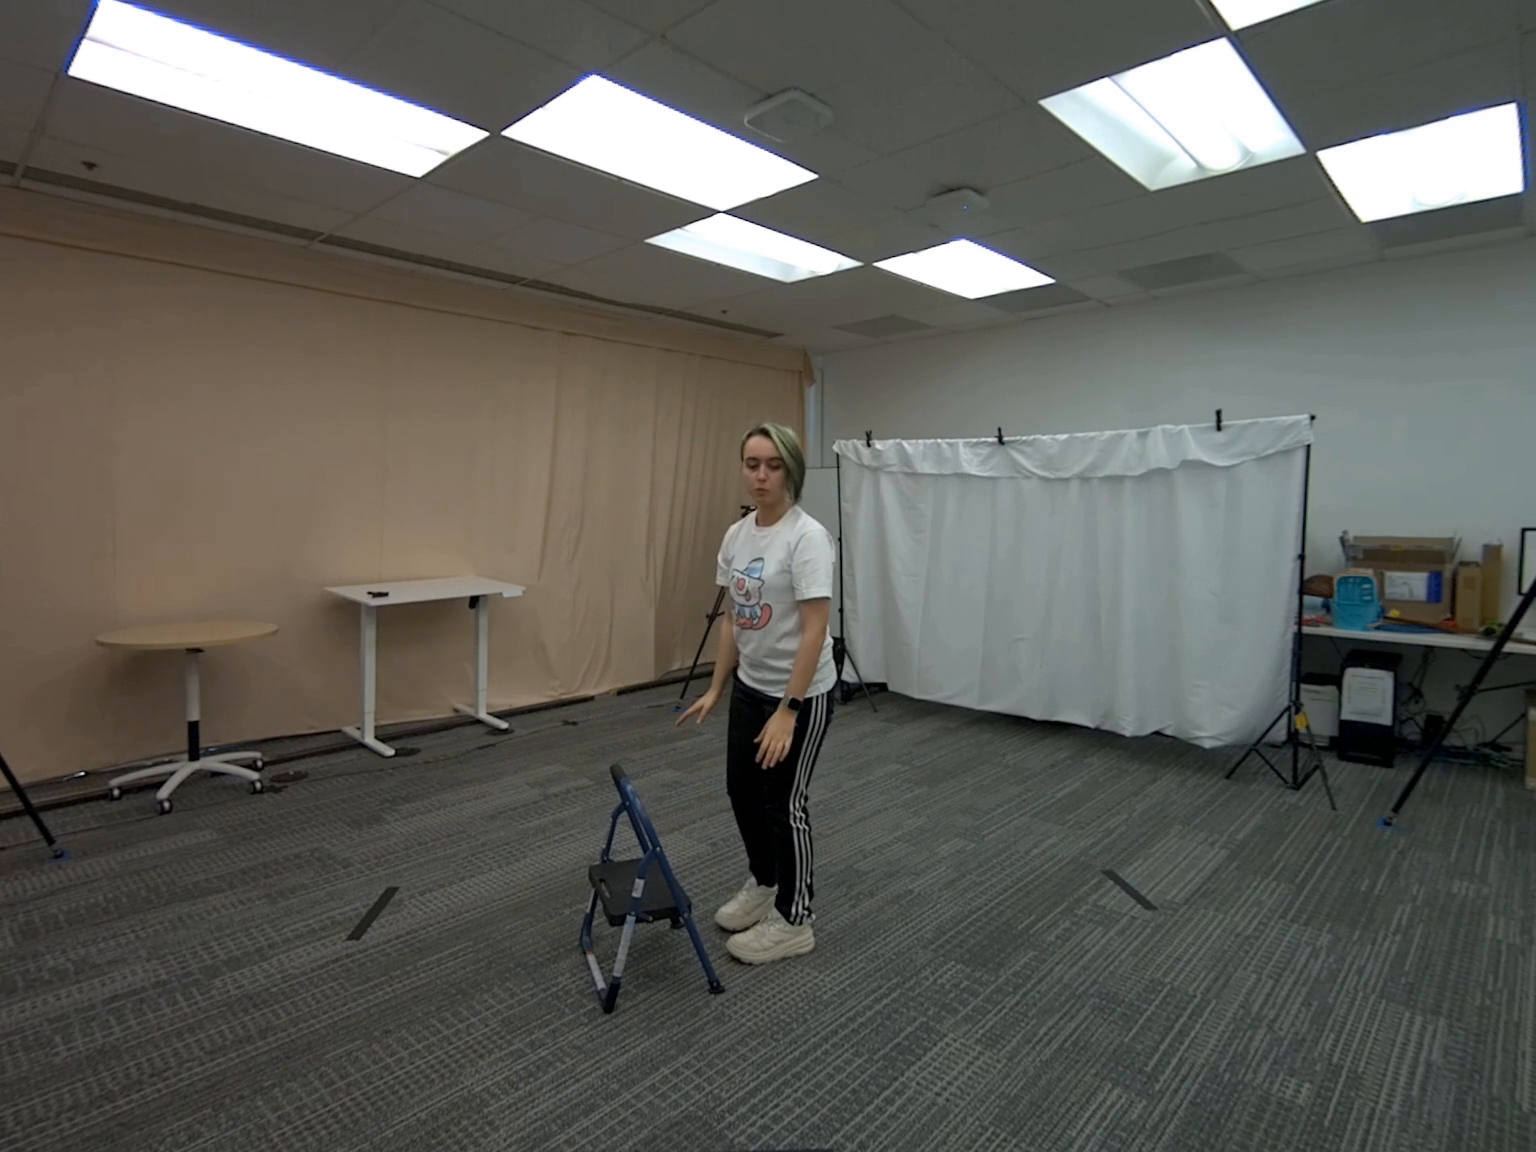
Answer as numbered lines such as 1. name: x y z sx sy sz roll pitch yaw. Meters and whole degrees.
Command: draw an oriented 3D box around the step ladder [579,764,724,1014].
1. step ladder: -0.372 0.884 2.533 0.342 0.605 0.441 -2 4 -22
